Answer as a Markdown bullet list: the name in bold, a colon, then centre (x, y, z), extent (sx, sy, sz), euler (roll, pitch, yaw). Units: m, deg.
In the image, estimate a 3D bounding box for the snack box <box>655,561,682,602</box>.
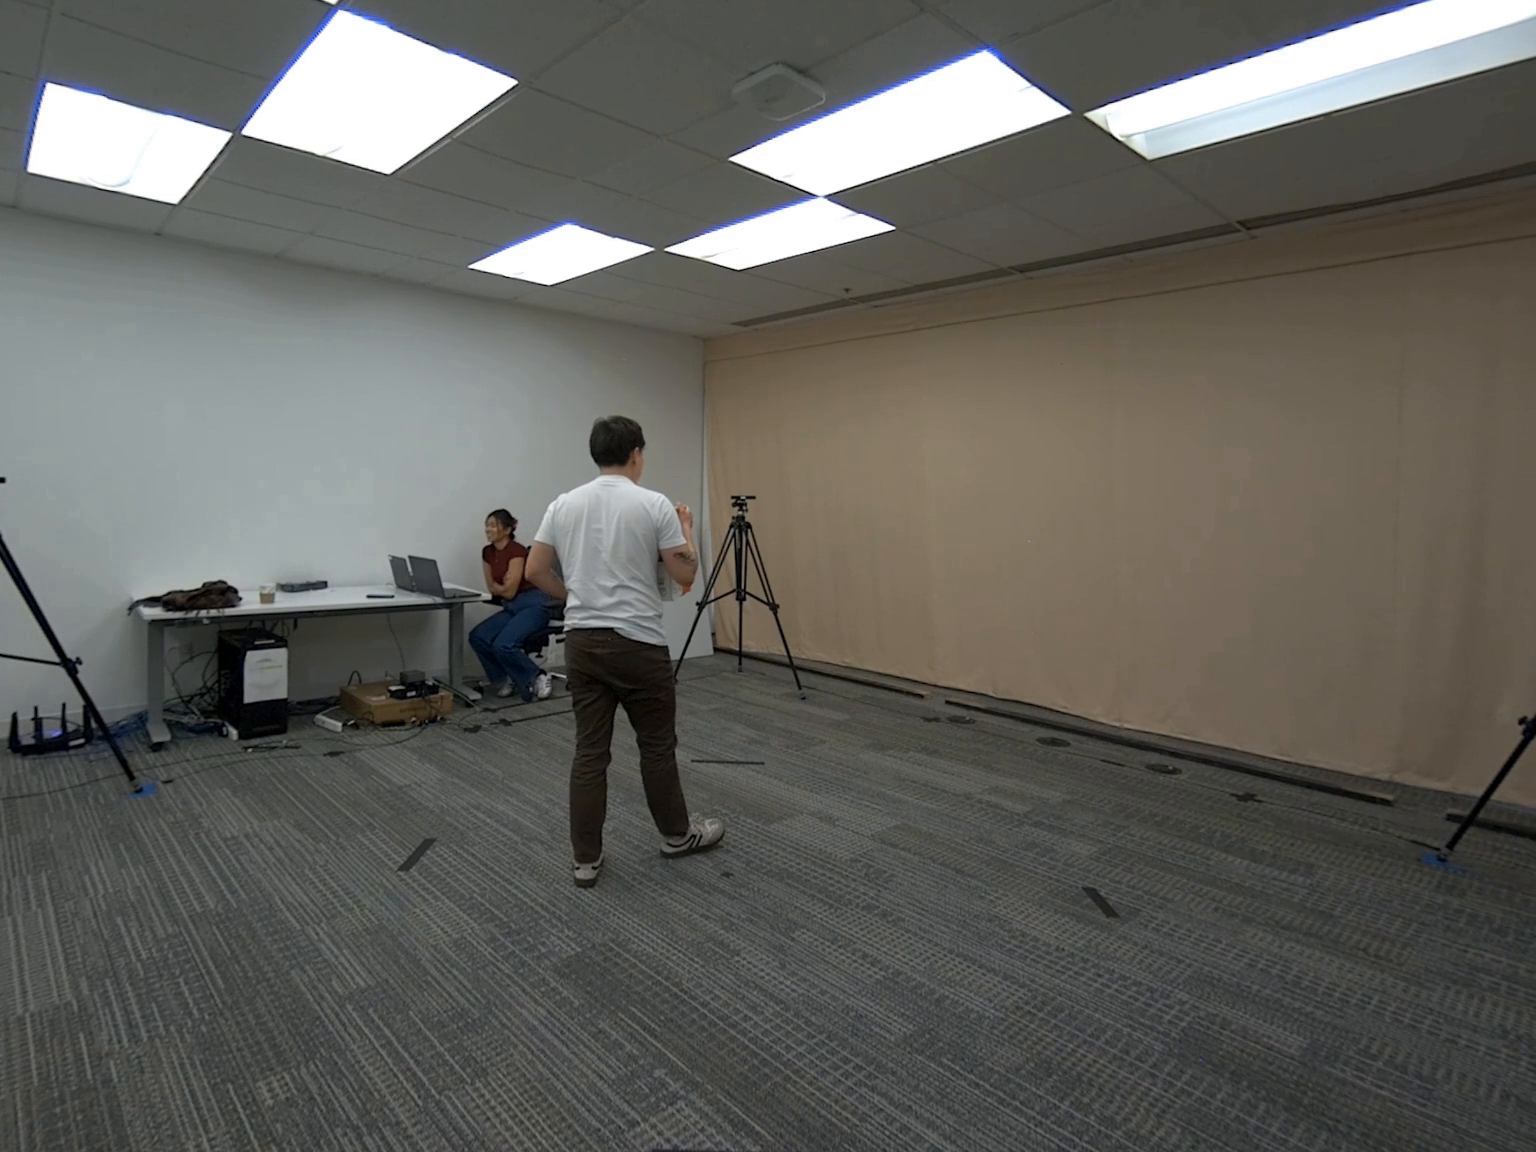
- **snack box**: centre (-0.532, -0.091, 3.278), extent (0.411, 0.339, 0.203), euler (-2, 4, 18)
